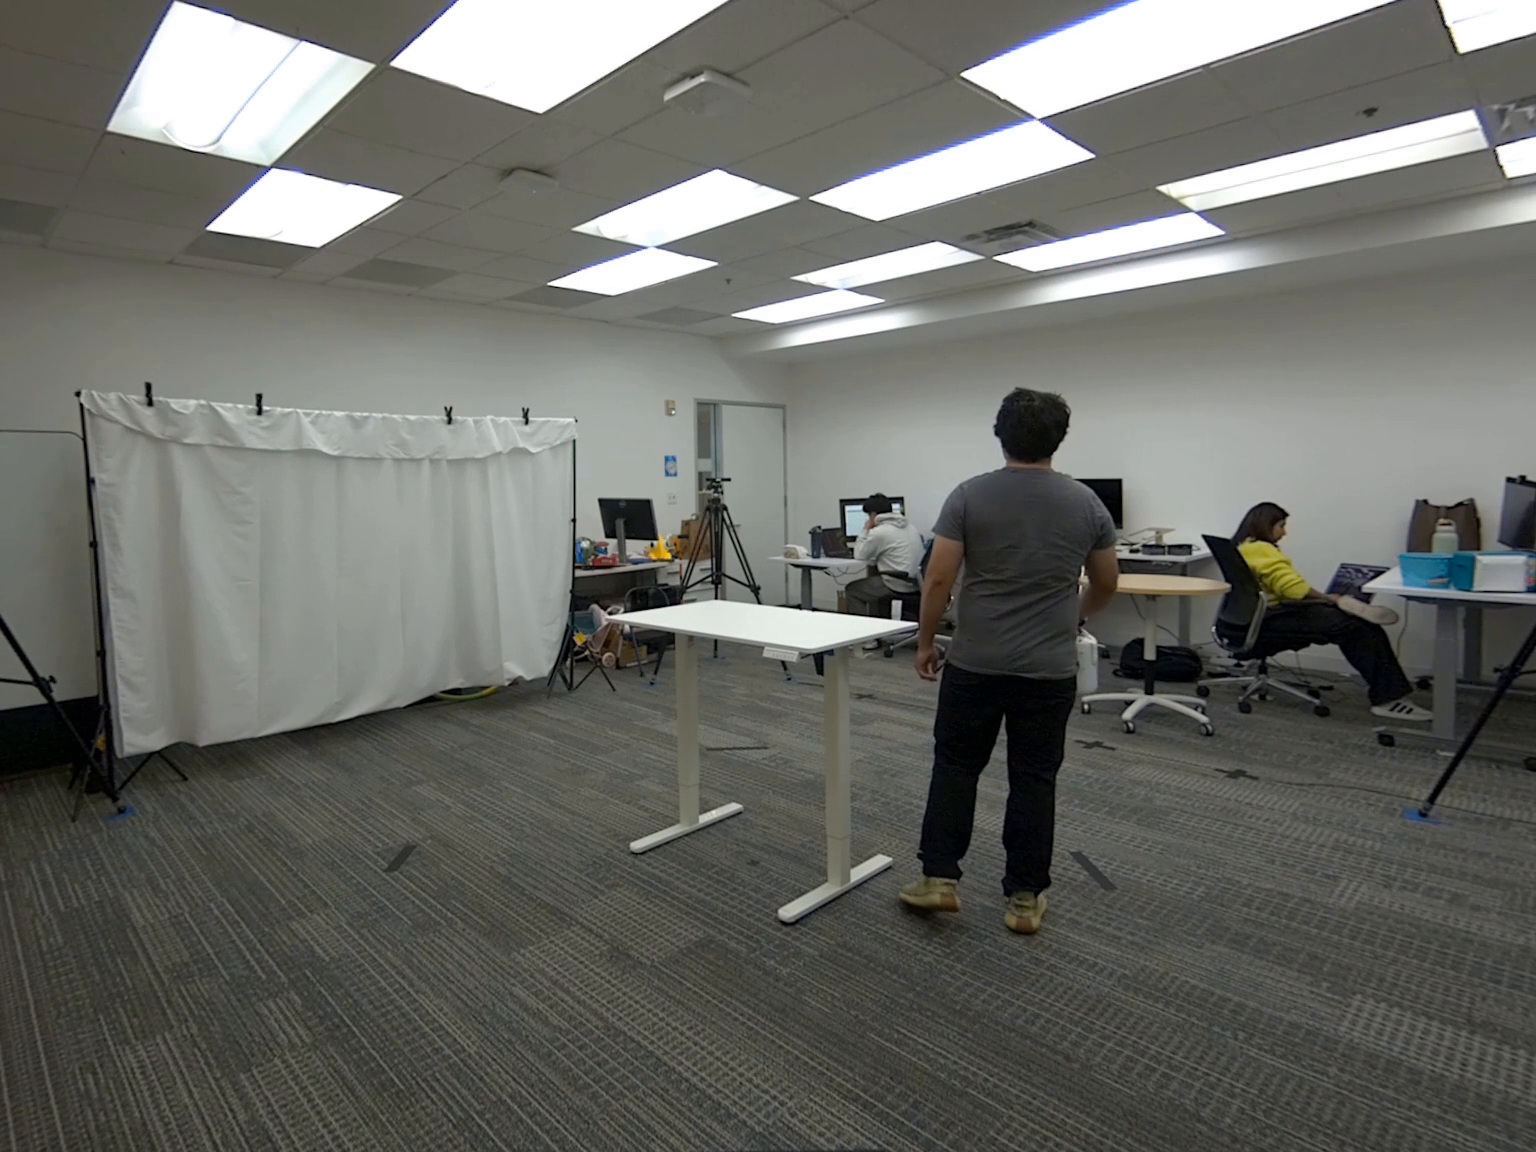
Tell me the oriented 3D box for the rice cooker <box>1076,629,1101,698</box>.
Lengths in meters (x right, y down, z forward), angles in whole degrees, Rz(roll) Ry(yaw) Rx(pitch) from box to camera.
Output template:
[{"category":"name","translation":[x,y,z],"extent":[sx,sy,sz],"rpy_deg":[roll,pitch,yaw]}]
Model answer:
[{"category":"rice cooker","translation":[1.027,0.286,2.945],"extent":[0.212,0.232,0.227],"rpy_deg":[-6,6,-45]}]
